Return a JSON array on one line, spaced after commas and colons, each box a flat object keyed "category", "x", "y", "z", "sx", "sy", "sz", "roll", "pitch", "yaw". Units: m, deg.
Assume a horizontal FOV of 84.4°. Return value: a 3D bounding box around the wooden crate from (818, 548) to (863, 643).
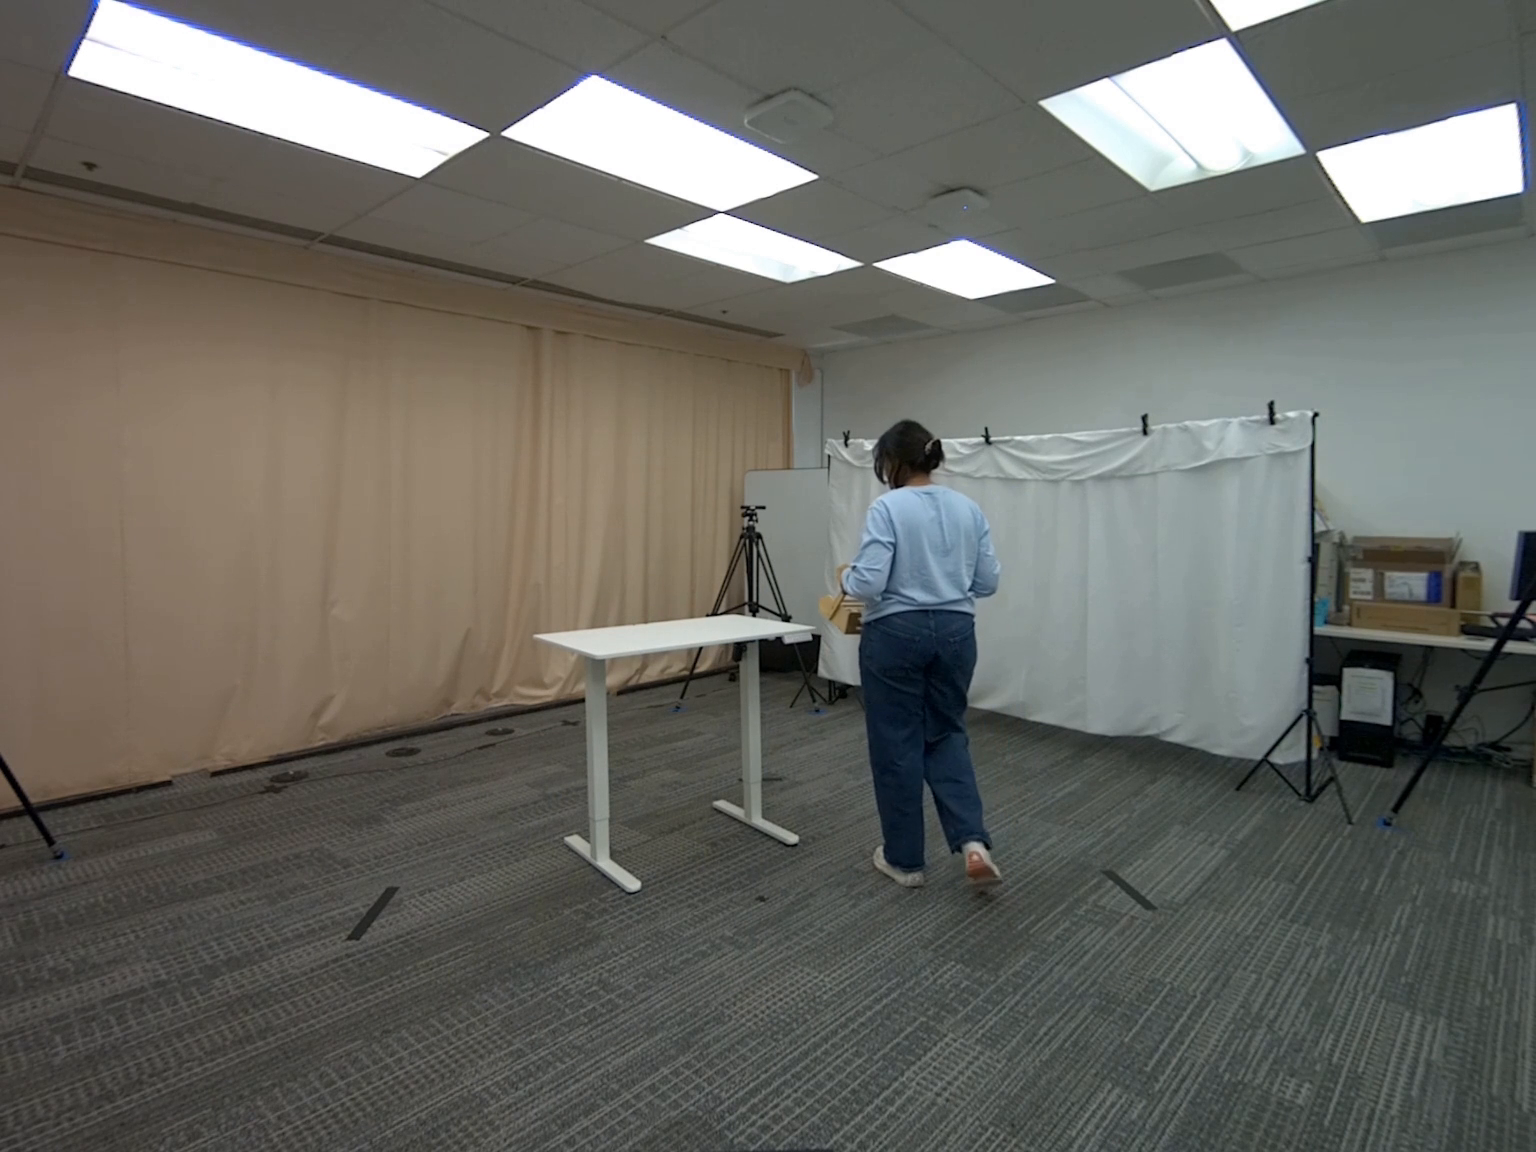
[{"category": "wooden crate", "x": 0.432, "y": 0.070, "z": 3.358, "sx": 0.317, "sy": 0.271, "sz": 0.311, "roll": 0, "pitch": 20, "yaw": -22}]
